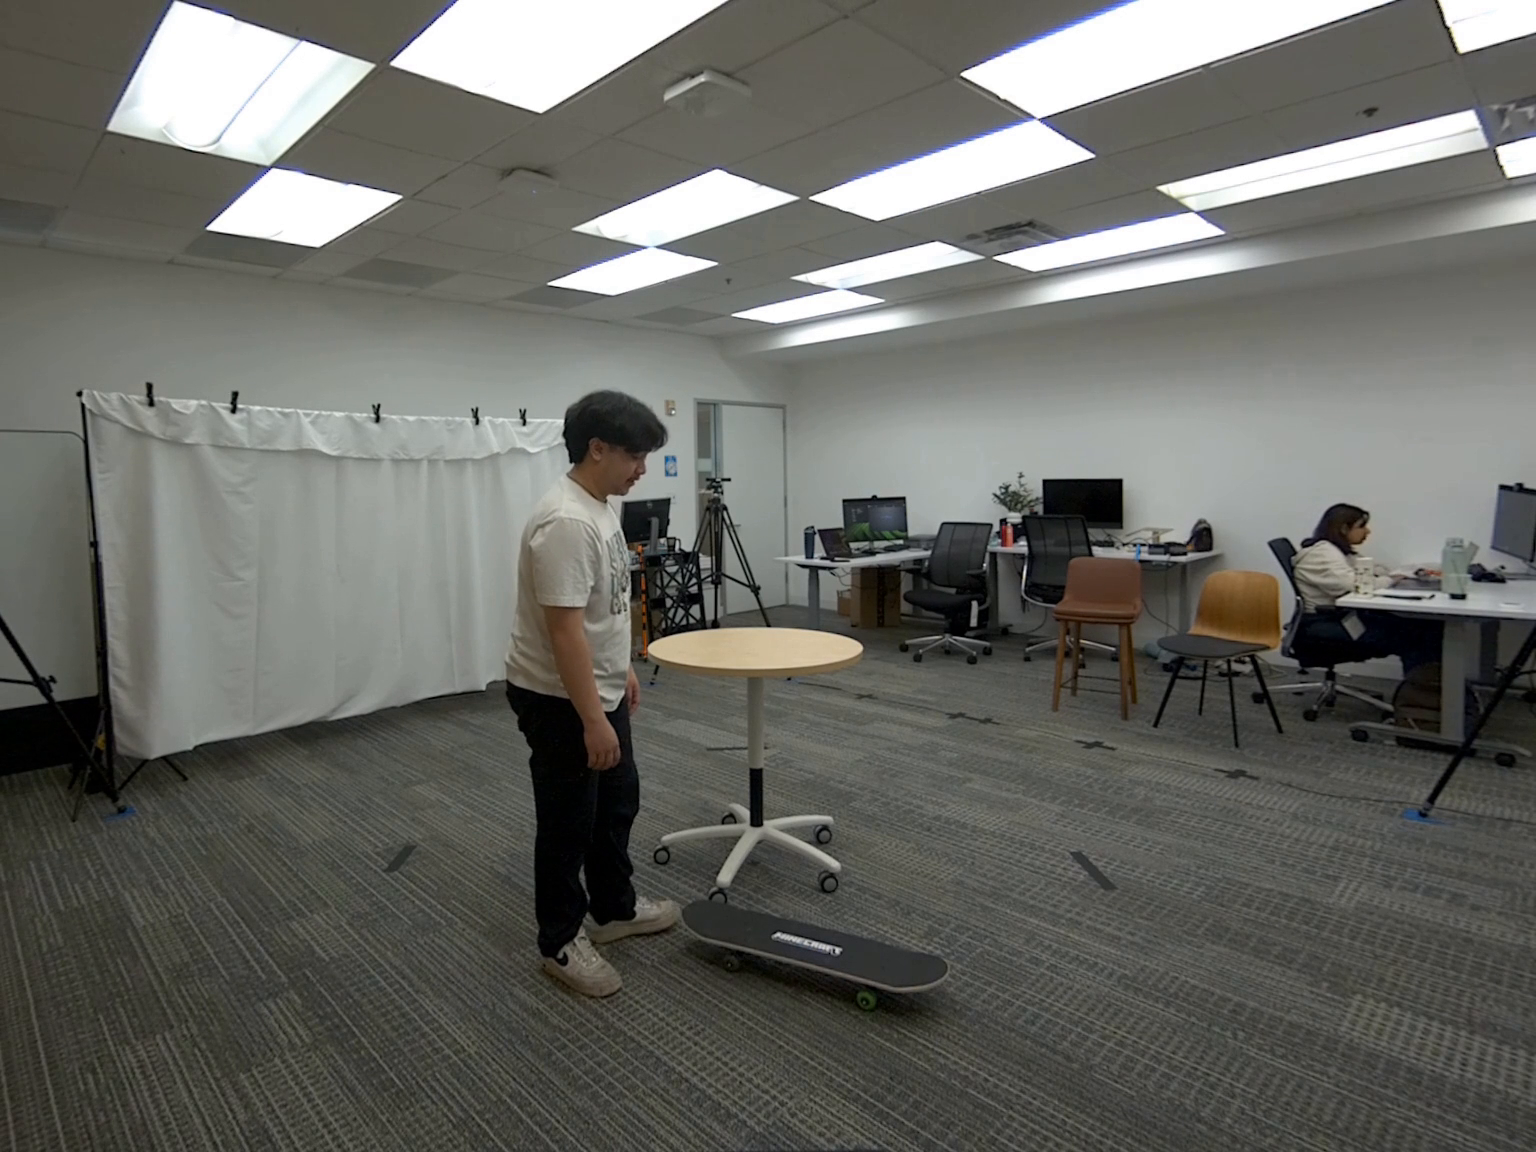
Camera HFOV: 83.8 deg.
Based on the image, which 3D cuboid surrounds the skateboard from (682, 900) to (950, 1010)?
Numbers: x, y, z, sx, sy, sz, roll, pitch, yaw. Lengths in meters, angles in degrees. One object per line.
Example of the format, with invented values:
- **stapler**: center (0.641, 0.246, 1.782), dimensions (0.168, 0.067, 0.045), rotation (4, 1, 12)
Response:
- **skateboard**: center (0.114, 1.060, 2.404), dimensions (0.805, 0.110, 0.190), rotation (2, 8, 27)
